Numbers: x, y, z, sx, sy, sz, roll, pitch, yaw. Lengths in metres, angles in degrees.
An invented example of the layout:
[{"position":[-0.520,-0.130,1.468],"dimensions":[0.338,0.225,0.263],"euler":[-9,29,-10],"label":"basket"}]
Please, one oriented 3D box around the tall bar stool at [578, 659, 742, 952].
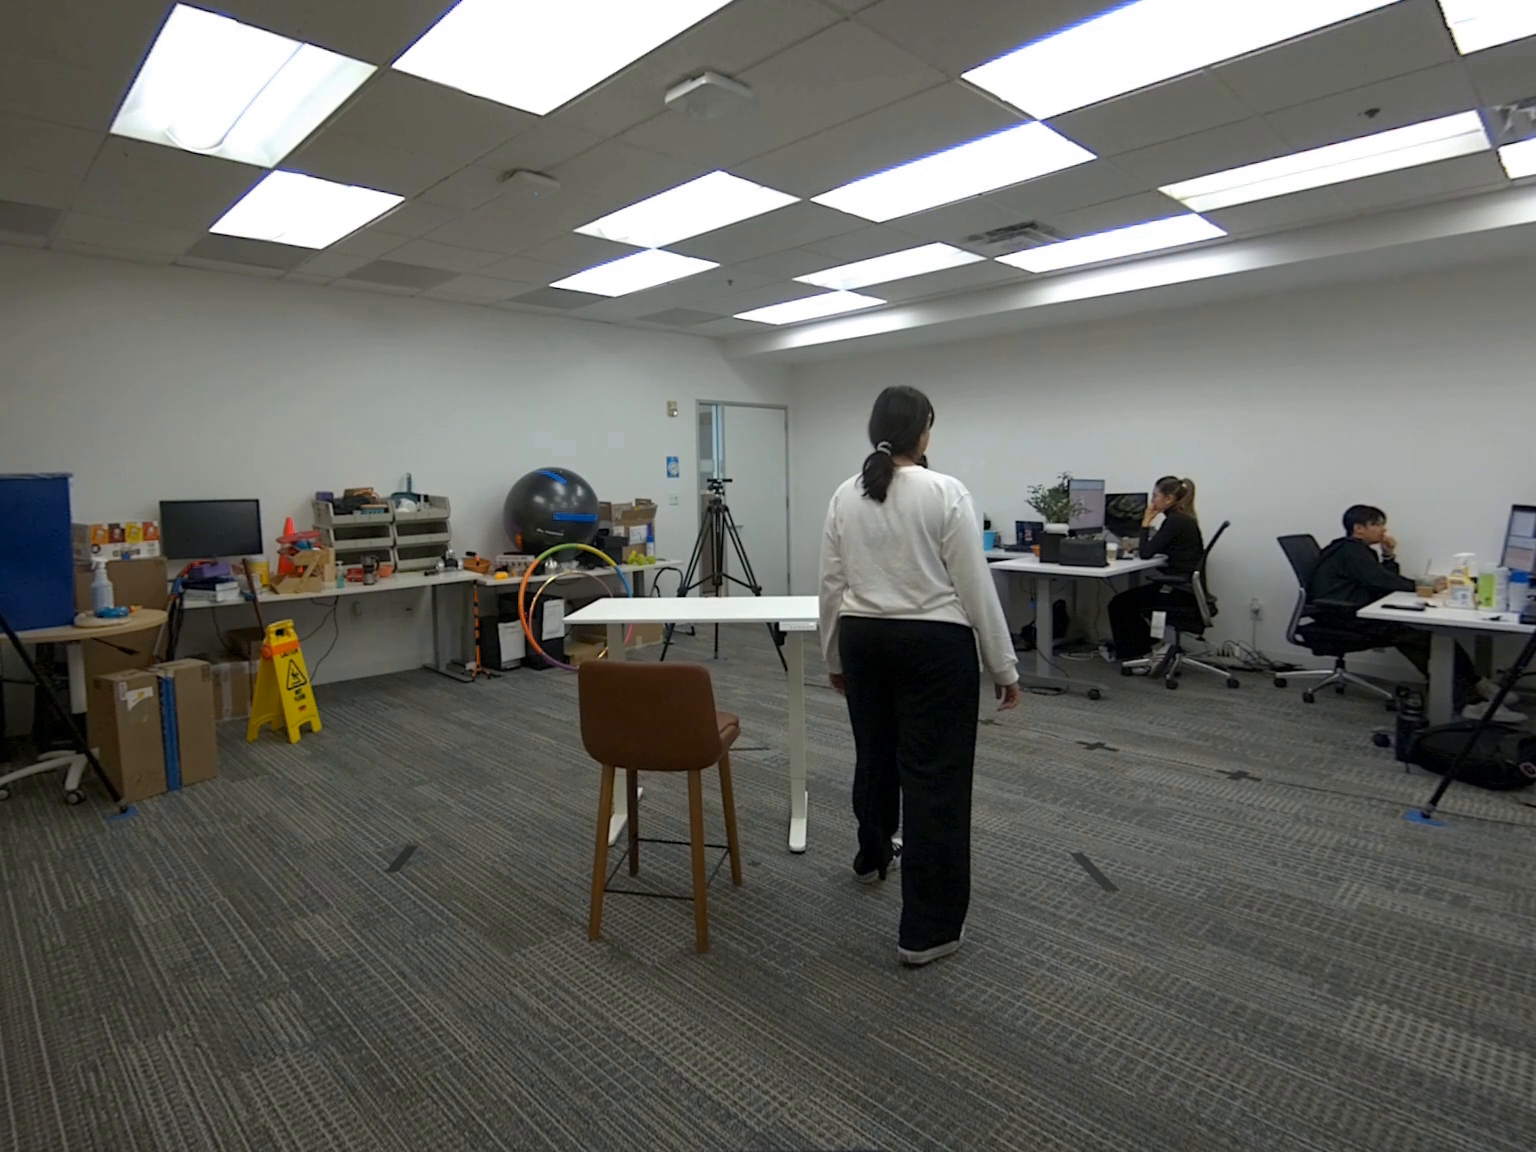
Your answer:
[{"position":[-0.329,0.660,2.753],"dimensions":[0.462,0.885,0.464],"euler":[0,6,13],"label":"tall bar stool"}]
